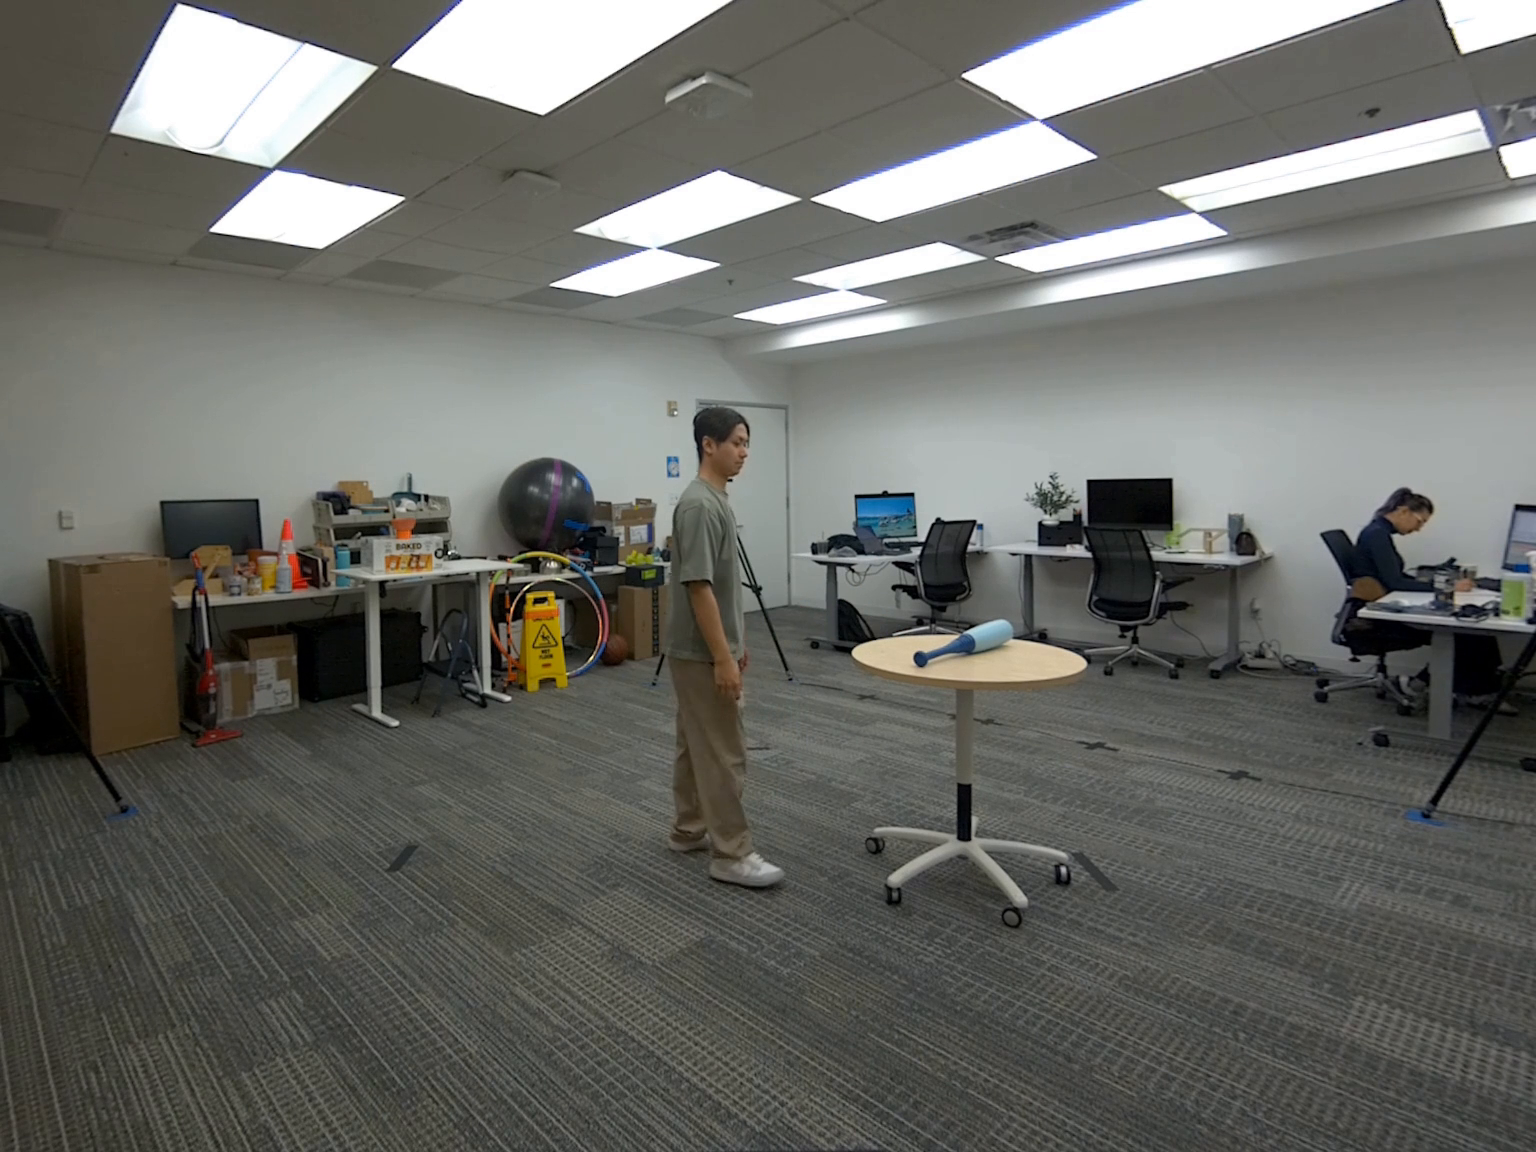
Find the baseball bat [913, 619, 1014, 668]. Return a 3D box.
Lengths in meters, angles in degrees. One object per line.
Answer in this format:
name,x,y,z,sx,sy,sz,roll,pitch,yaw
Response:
baseball bat,0.669,0.232,2.913,0.529,0.088,0.092,-9,9,-43
